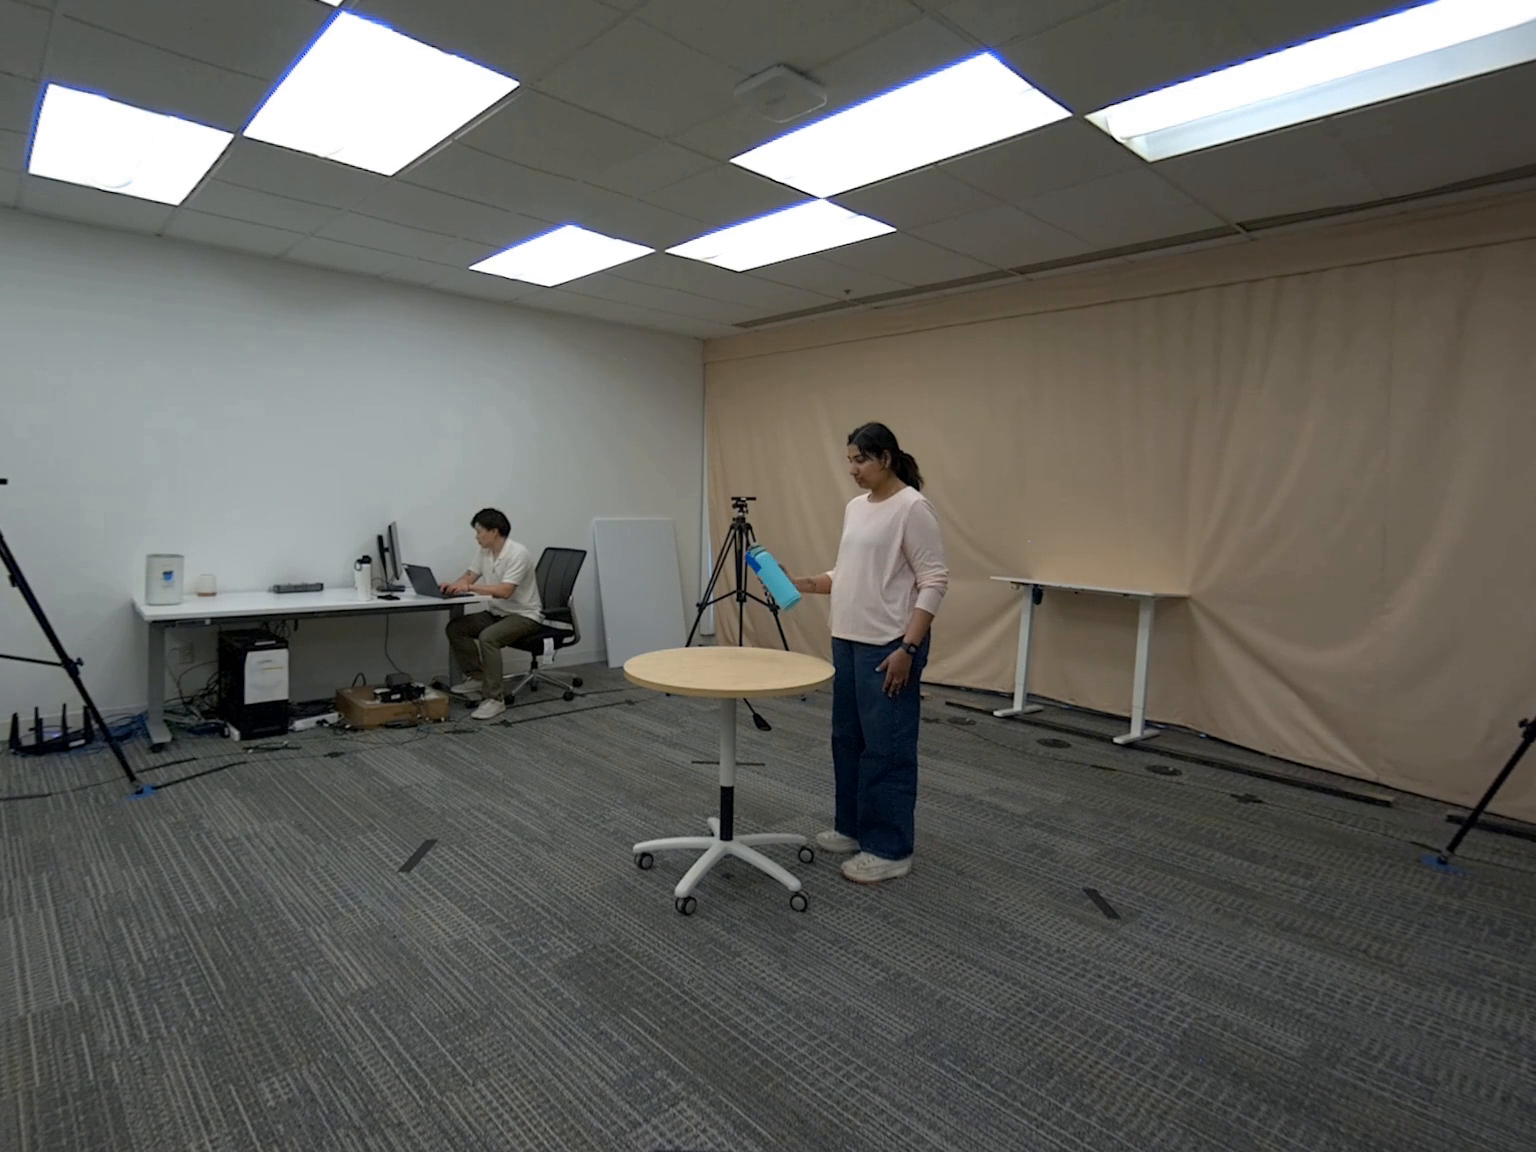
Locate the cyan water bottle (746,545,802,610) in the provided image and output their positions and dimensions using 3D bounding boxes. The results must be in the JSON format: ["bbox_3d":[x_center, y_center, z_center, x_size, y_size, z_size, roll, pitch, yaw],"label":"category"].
[{"bbox_3d":[0.010,0.000,3.219,0.092,0.288,0.091,-34,-14,-10],"label":"cyan water bottle"}]
